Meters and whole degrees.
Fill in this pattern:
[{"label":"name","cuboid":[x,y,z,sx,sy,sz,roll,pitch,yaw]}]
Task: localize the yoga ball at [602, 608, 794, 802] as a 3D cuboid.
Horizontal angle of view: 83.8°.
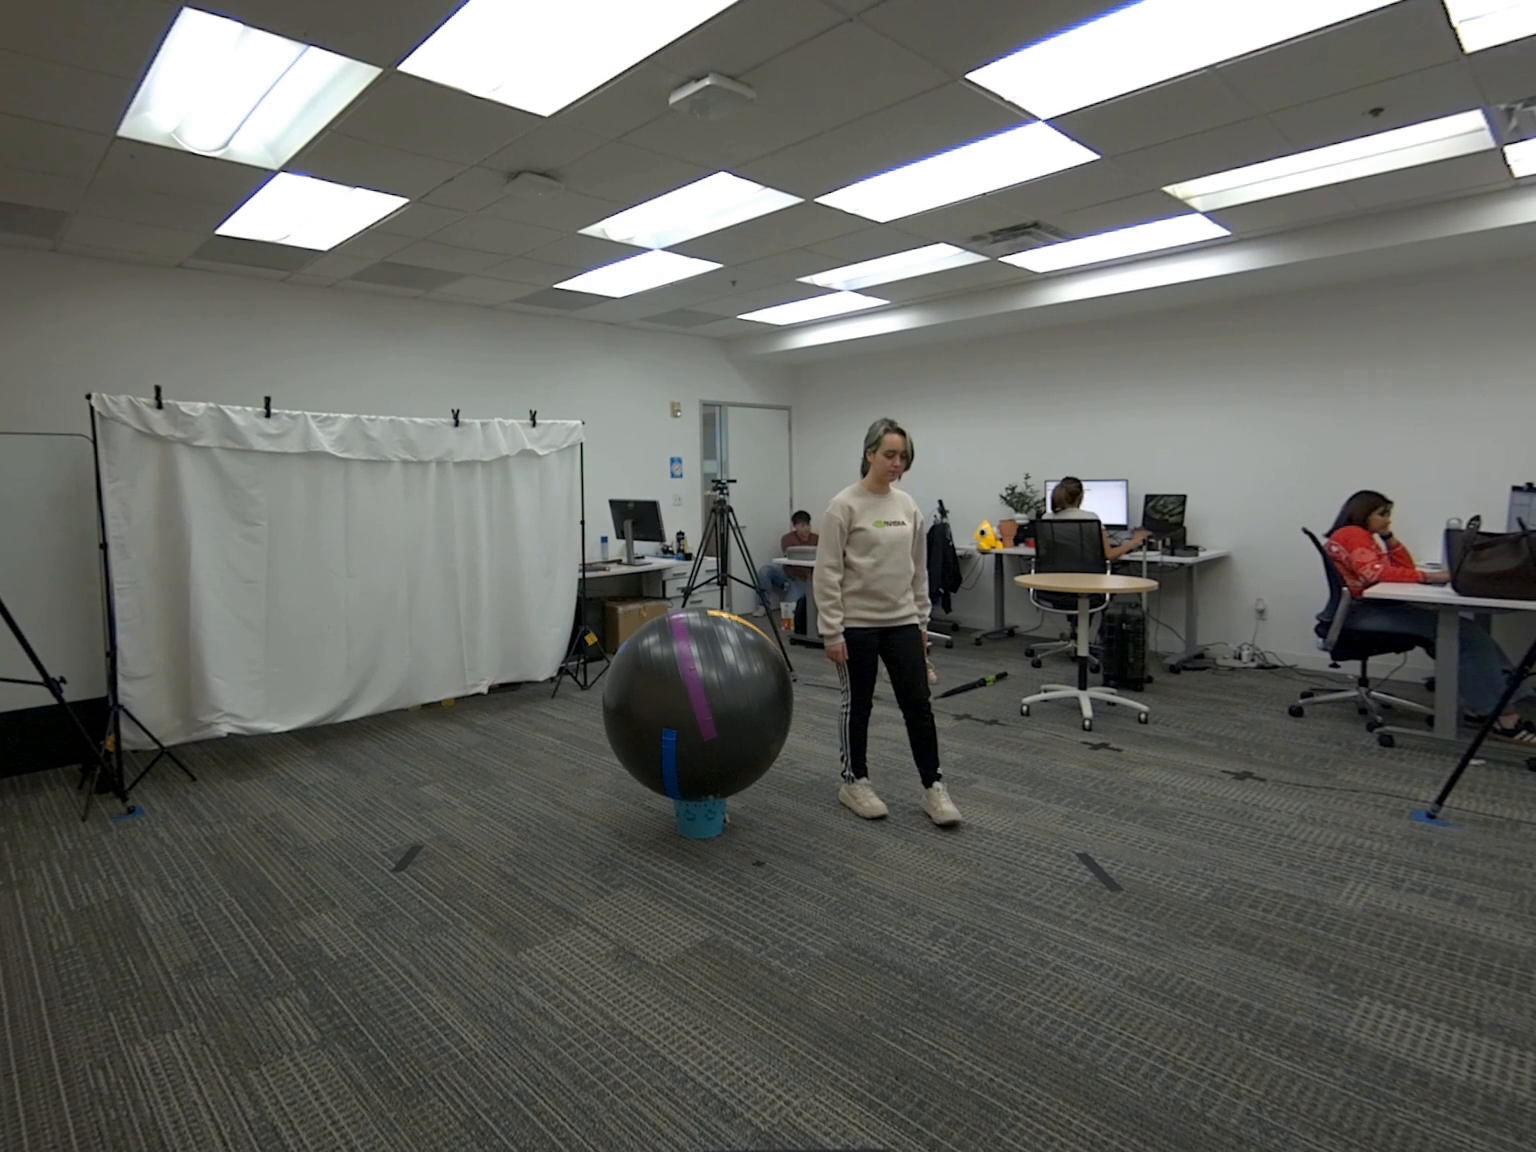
[{"label":"yoga ball","cuboid":[-0.278,0.507,3.401,0.757,0.755,0.762,-1,5,-2]}]
